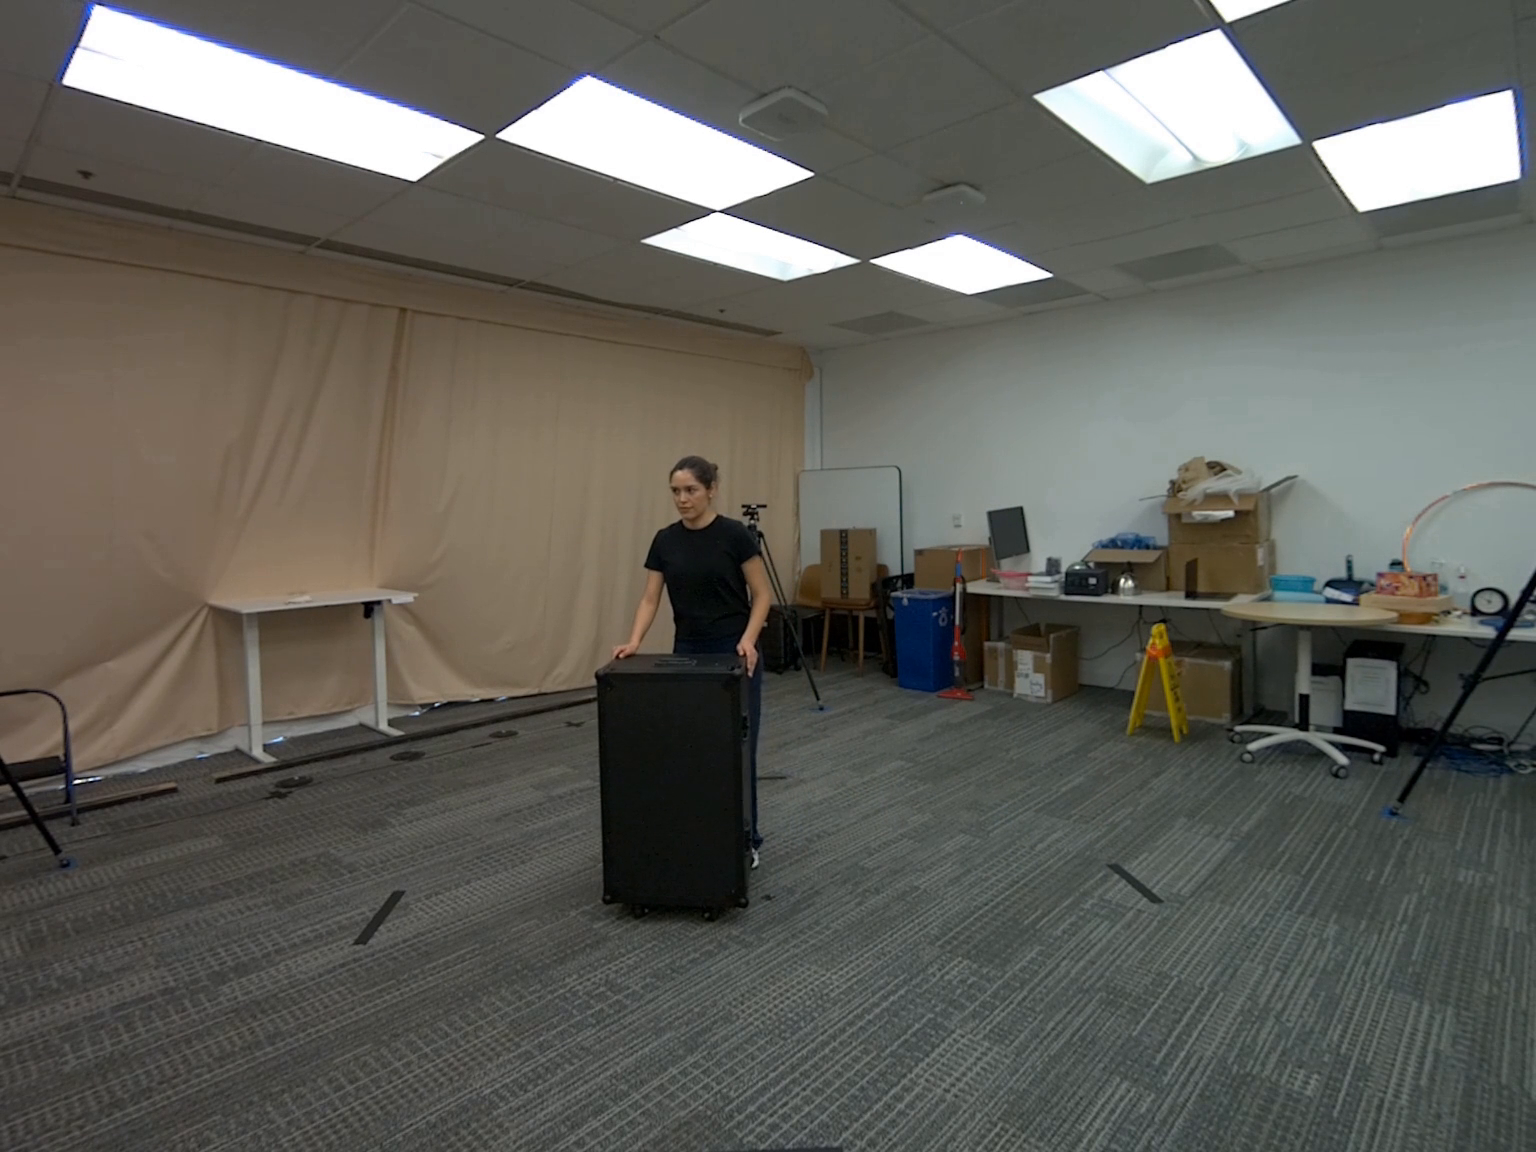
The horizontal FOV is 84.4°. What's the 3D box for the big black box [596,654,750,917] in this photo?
[{"bbox_3d":[-0.304,0.719,2.960,0.525,0.860,0.394,-1,2,5],"label":"big black box"}]
